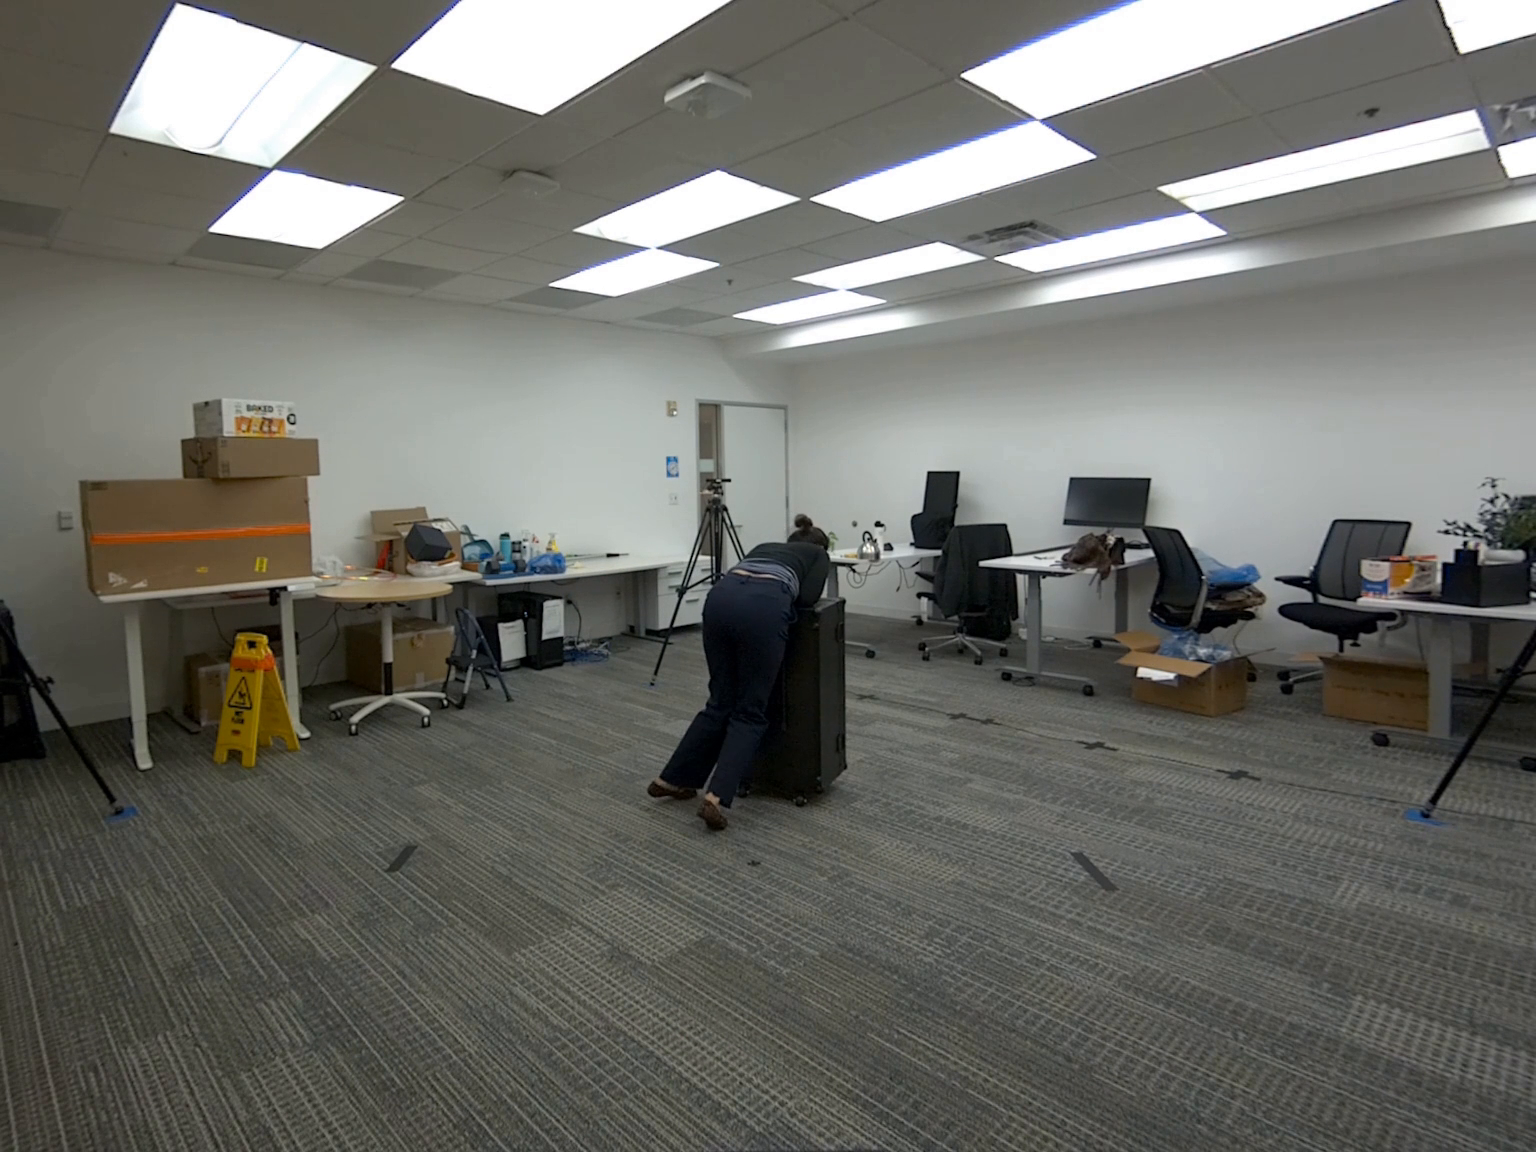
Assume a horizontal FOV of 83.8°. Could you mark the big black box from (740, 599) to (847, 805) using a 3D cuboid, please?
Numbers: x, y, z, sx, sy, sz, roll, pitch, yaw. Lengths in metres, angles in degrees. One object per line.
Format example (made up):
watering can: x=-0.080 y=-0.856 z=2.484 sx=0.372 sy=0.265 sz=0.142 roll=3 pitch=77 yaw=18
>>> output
big black box: x=0.072 y=0.540 z=3.816 sx=0.533 sy=0.857 sz=0.389 roll=2 pitch=6 yaw=24
